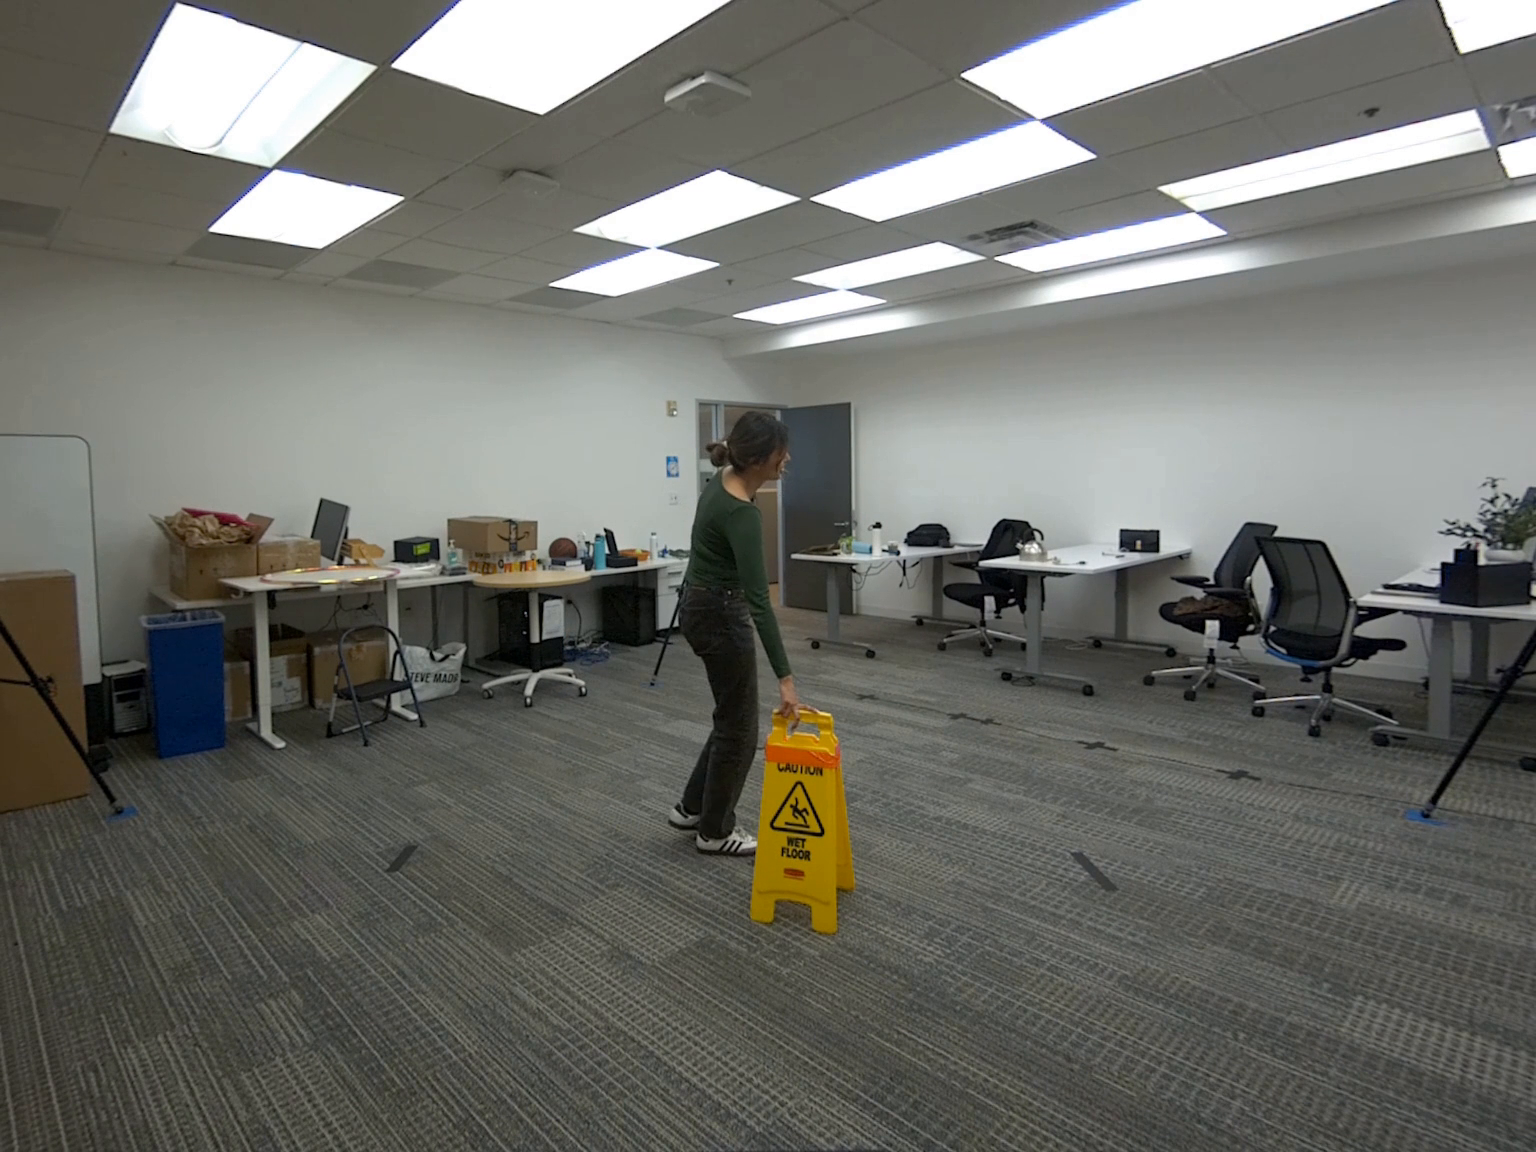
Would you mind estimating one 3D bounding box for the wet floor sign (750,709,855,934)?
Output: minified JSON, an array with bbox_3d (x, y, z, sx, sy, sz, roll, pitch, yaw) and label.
[{"bbox_3d":[0.121,0.757,2.782,0.288,0.644,0.285,2,5,19],"label":"wet floor sign"}]
